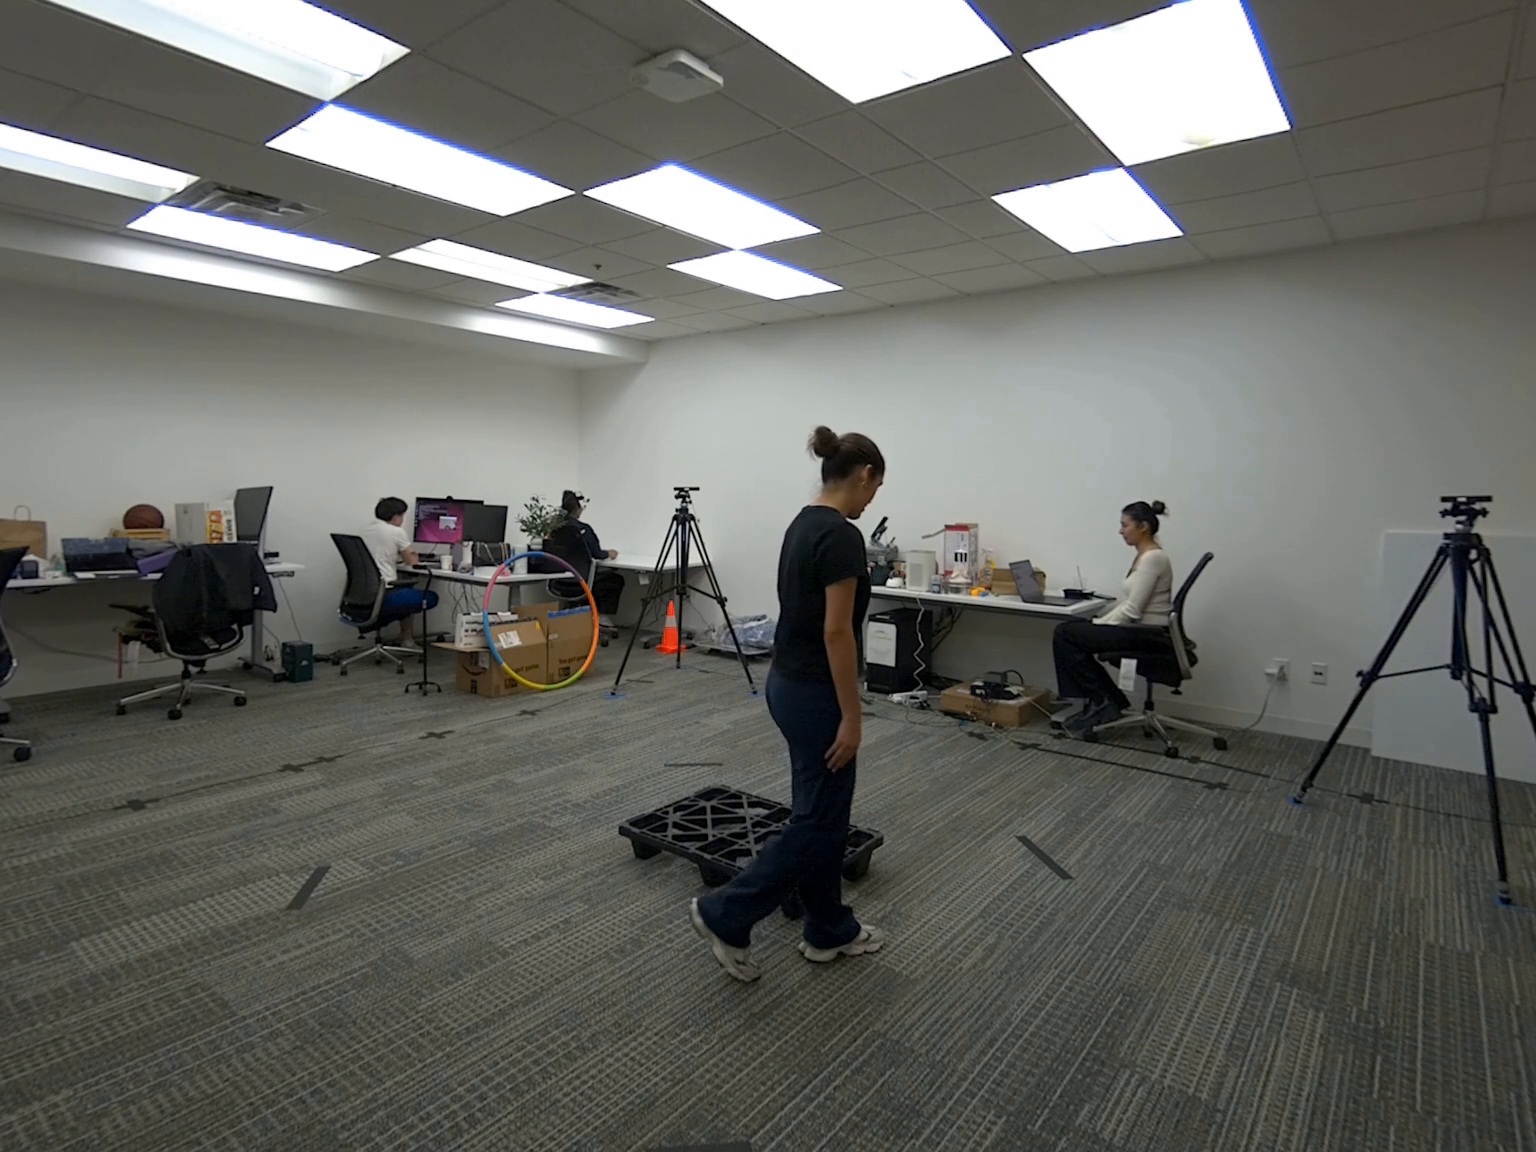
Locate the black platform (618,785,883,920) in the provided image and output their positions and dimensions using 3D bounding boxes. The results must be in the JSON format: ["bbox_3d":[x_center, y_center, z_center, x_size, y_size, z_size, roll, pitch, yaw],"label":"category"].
[{"bbox_3d":[-0.054,0.999,3.167,0.833,0.143,0.587,6,7,38],"label":"black platform"}]
